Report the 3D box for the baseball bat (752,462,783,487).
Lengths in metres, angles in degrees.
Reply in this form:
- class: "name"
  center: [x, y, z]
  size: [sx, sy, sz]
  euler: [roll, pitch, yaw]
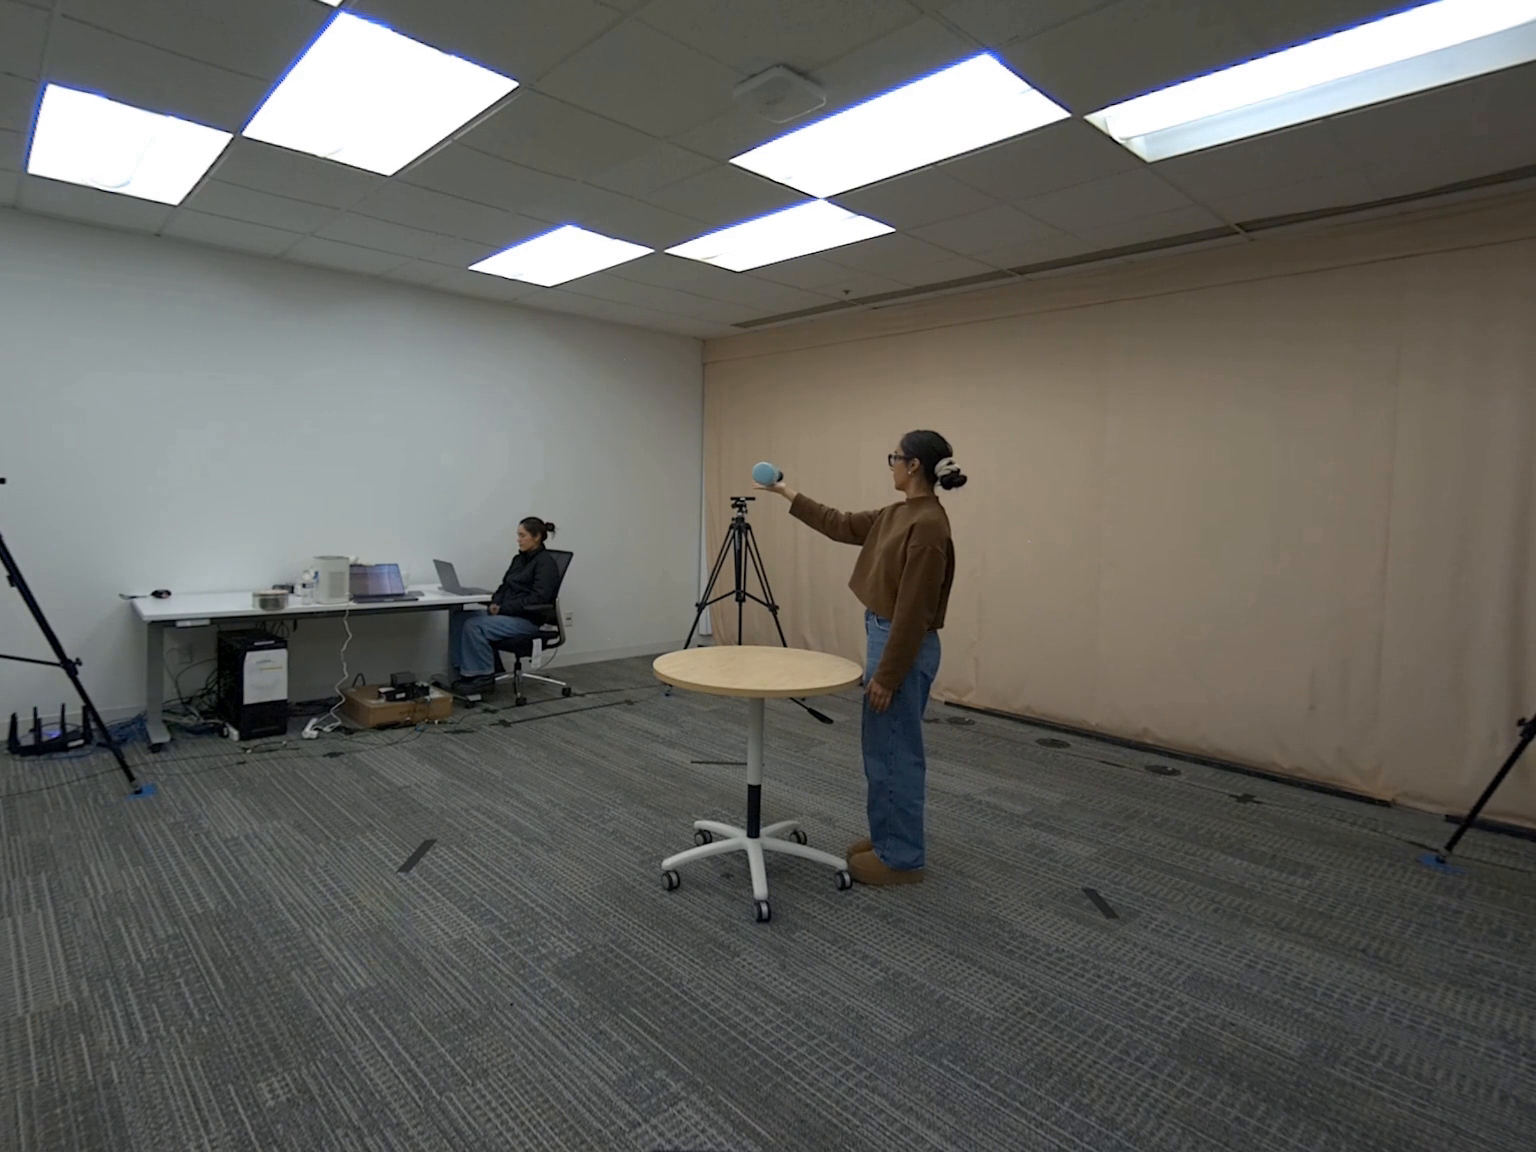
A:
- class: "baseball bat"
  center: [0.001, -0.414, 3.465]
  size: [0.090, 0.089, 0.540]
  euler: [2, 5, 8]
